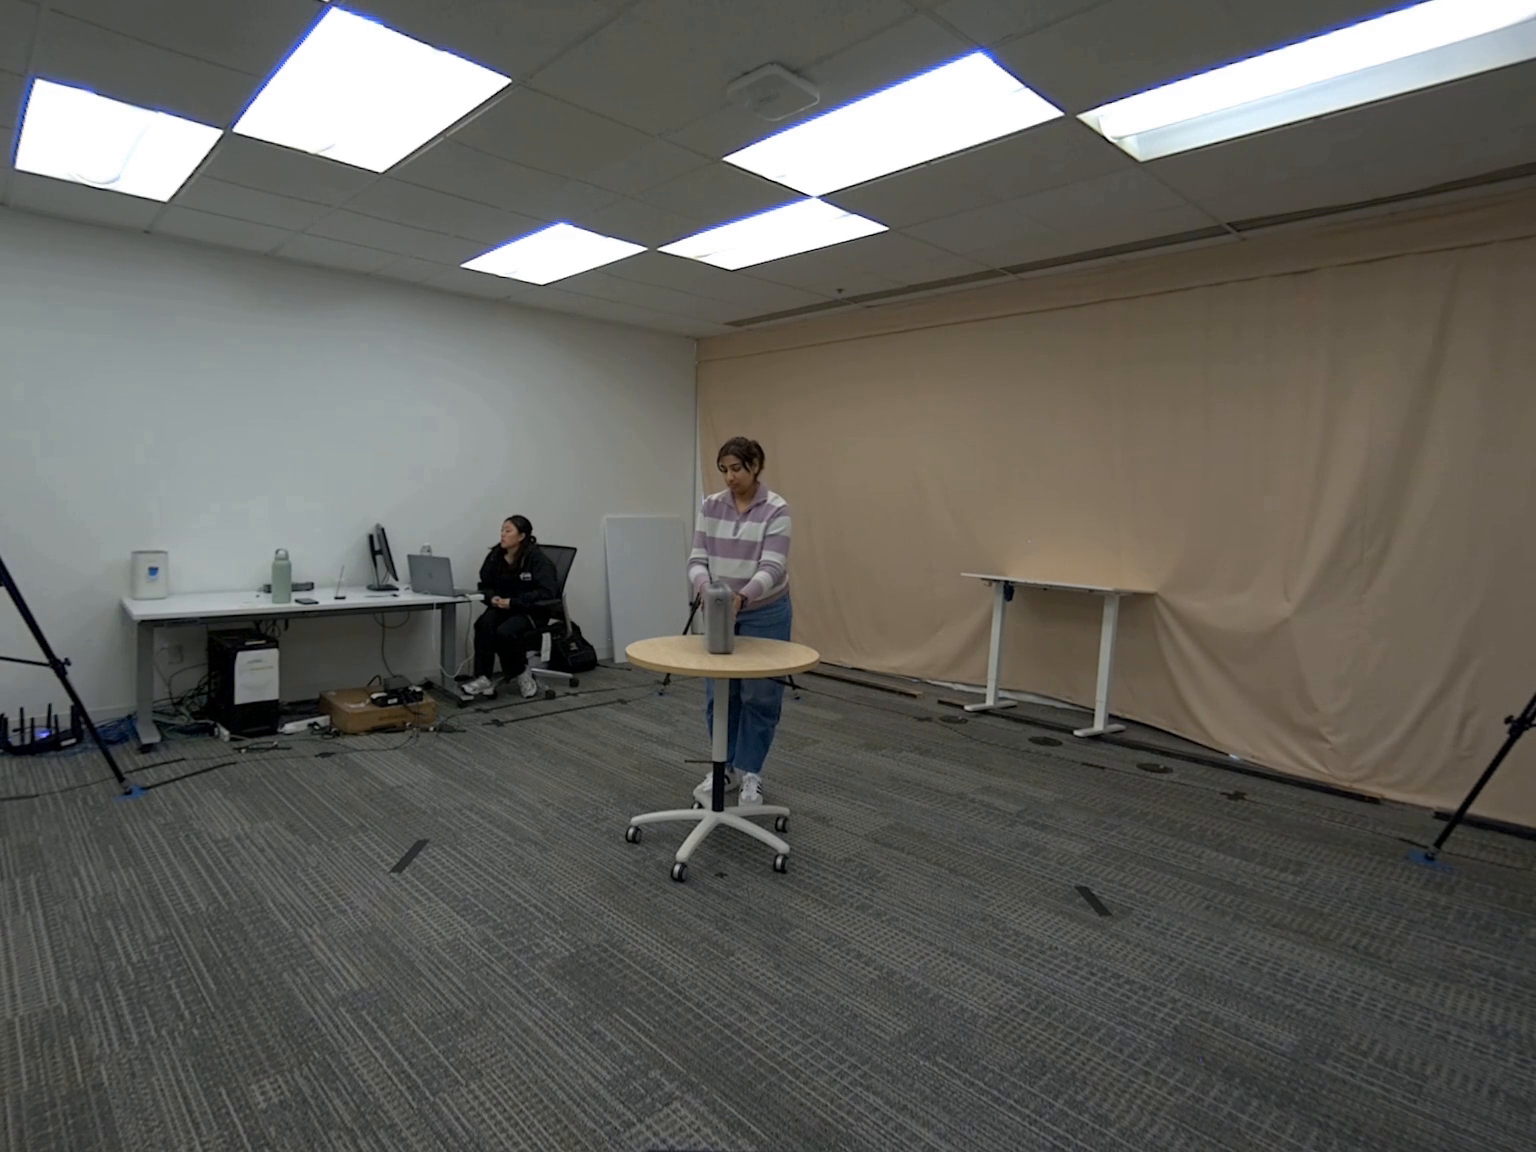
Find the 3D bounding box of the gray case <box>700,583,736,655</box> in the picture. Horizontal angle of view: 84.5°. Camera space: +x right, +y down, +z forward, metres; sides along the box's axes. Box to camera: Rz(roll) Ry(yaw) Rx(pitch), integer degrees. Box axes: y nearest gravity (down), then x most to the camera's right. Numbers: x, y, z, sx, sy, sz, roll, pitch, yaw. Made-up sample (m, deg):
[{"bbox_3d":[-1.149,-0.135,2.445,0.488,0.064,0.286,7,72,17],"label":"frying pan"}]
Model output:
[{"bbox_3d":[-0.210,0.163,3.358,0.104,0.260,0.259,-1,5,-6],"label":"gray case"}]
